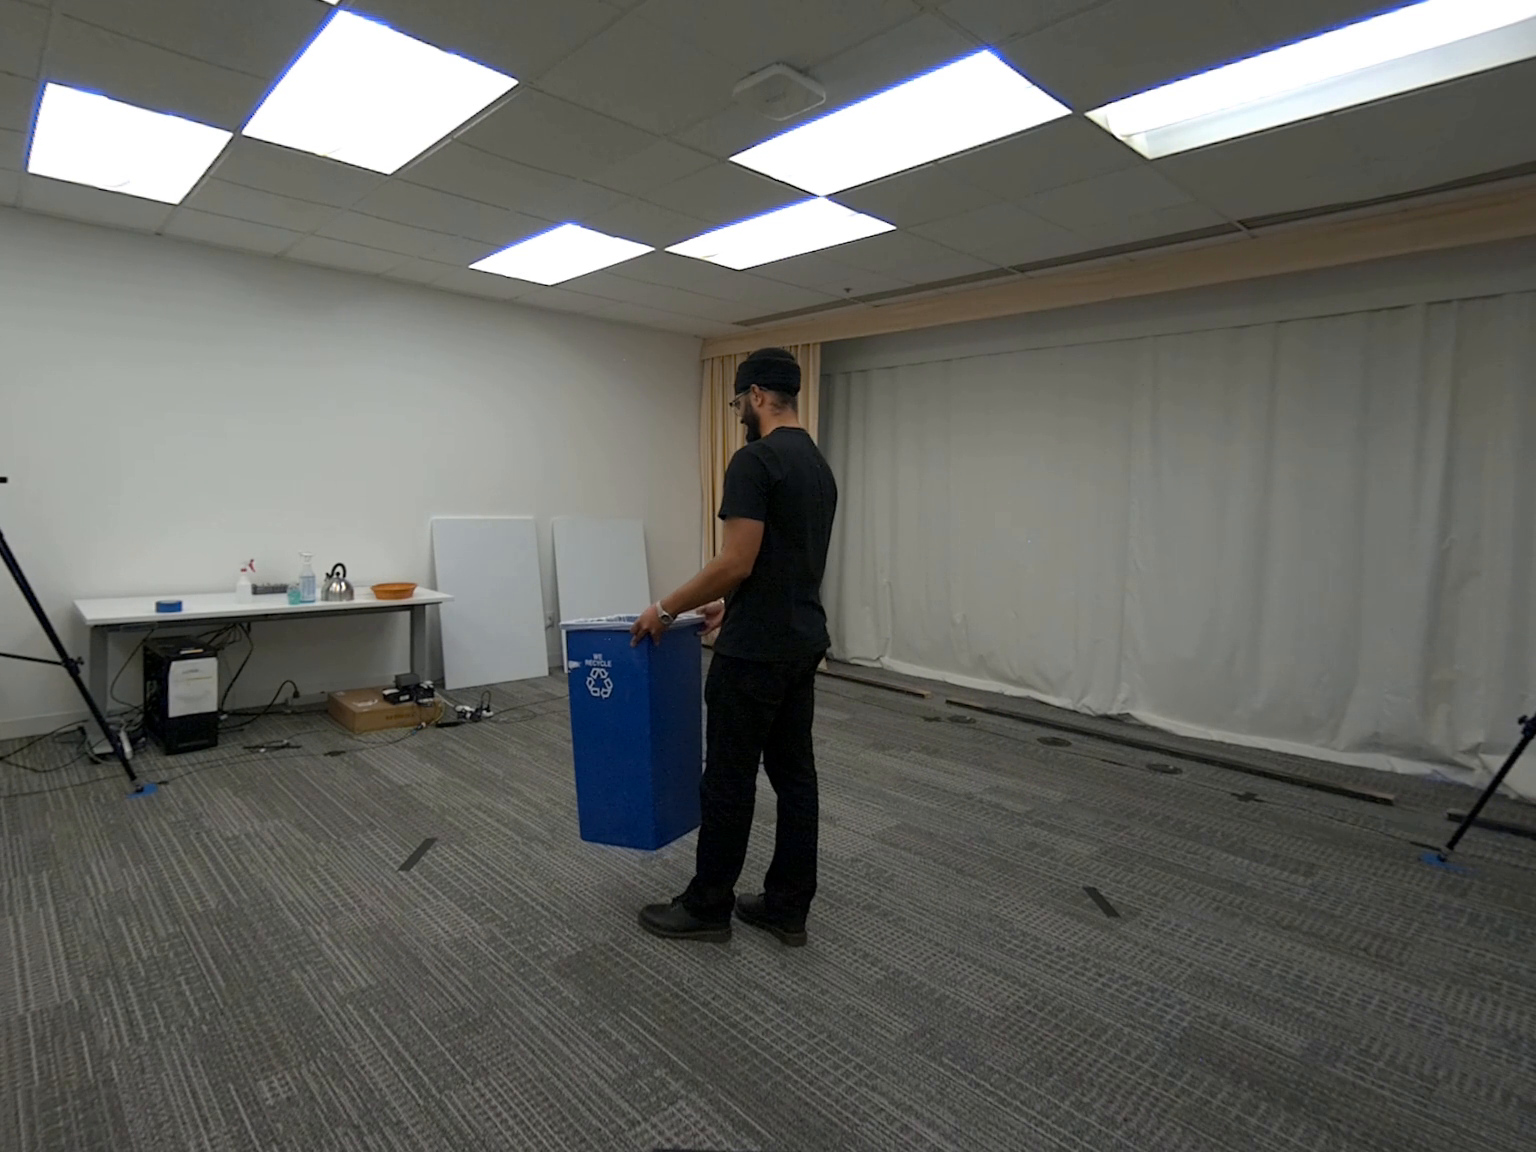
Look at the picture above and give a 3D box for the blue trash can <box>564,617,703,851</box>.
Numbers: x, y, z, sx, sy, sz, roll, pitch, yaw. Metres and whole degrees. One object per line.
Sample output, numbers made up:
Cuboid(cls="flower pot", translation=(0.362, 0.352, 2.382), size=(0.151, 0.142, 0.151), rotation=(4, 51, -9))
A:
Cuboid(cls="blue trash can", translation=(-0.435, 0.504, 2.814), size=(0.381, 0.714, 0.370), rotation=(-3, -1, 28))
